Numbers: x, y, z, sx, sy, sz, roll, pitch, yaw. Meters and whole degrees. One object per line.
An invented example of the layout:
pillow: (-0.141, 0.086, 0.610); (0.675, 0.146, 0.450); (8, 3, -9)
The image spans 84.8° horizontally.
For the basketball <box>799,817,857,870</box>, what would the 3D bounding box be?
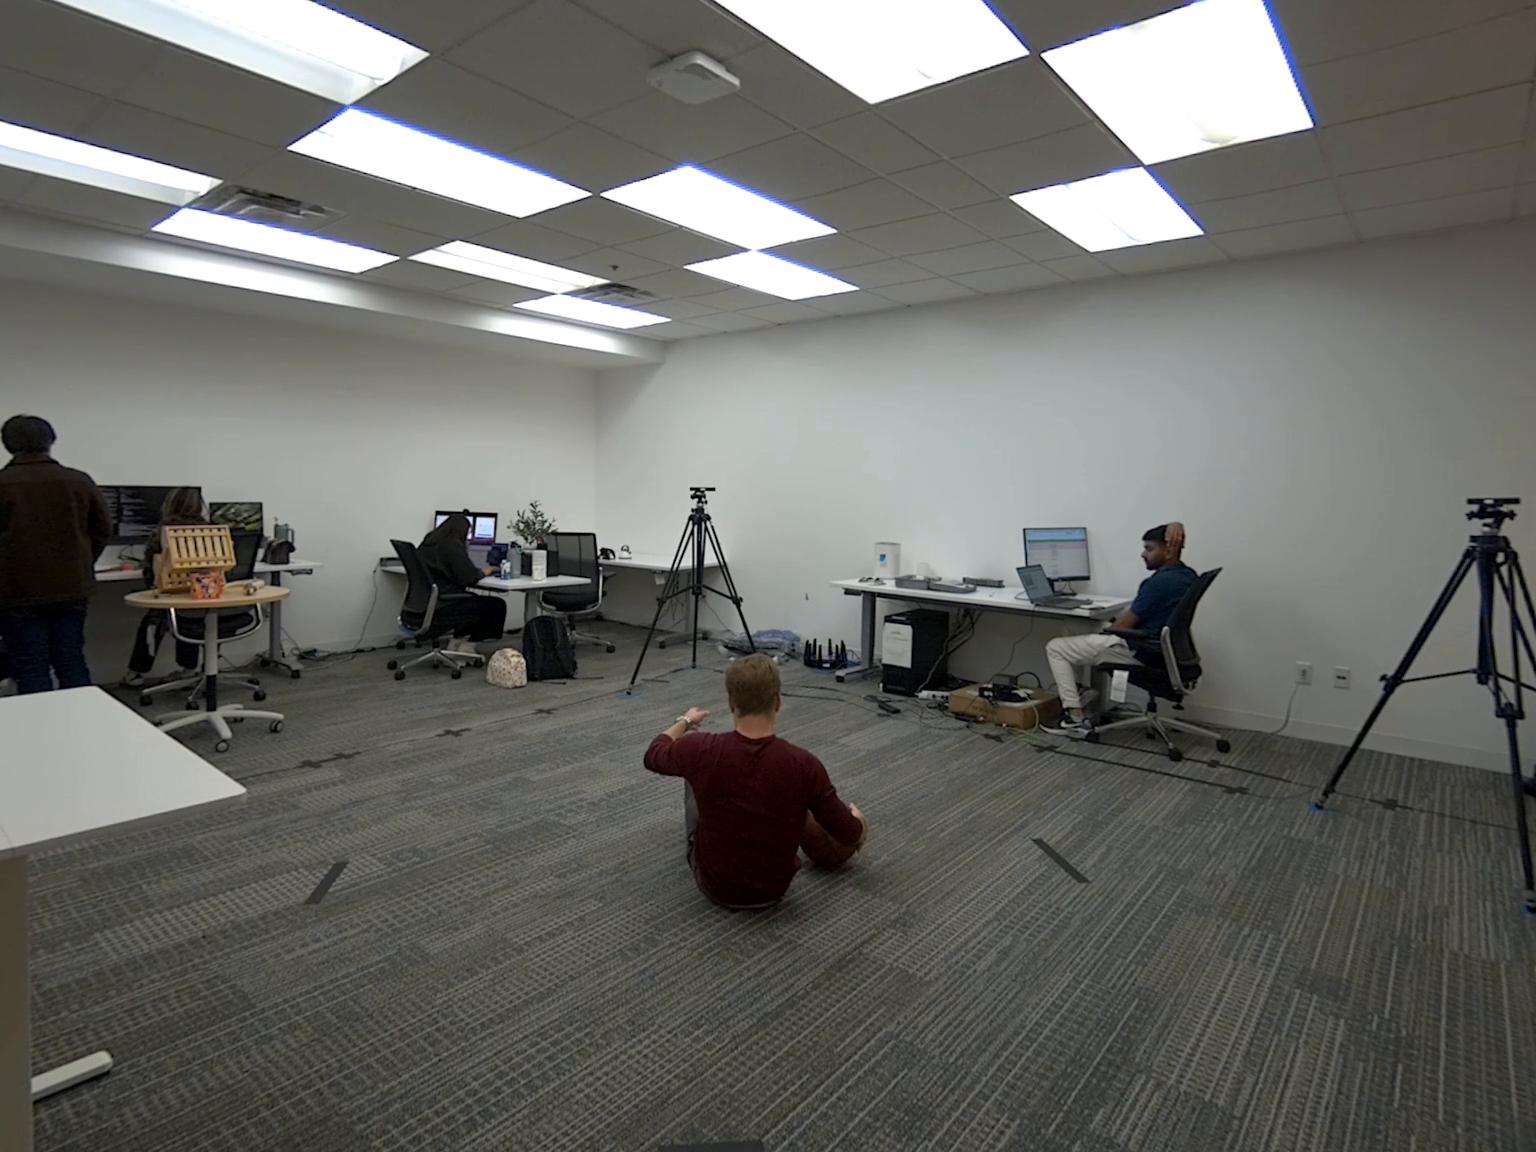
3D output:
basketball: (0.207, 0.950, 3.170); (0.235, 0.235, 0.237); (1, 4, -2)
